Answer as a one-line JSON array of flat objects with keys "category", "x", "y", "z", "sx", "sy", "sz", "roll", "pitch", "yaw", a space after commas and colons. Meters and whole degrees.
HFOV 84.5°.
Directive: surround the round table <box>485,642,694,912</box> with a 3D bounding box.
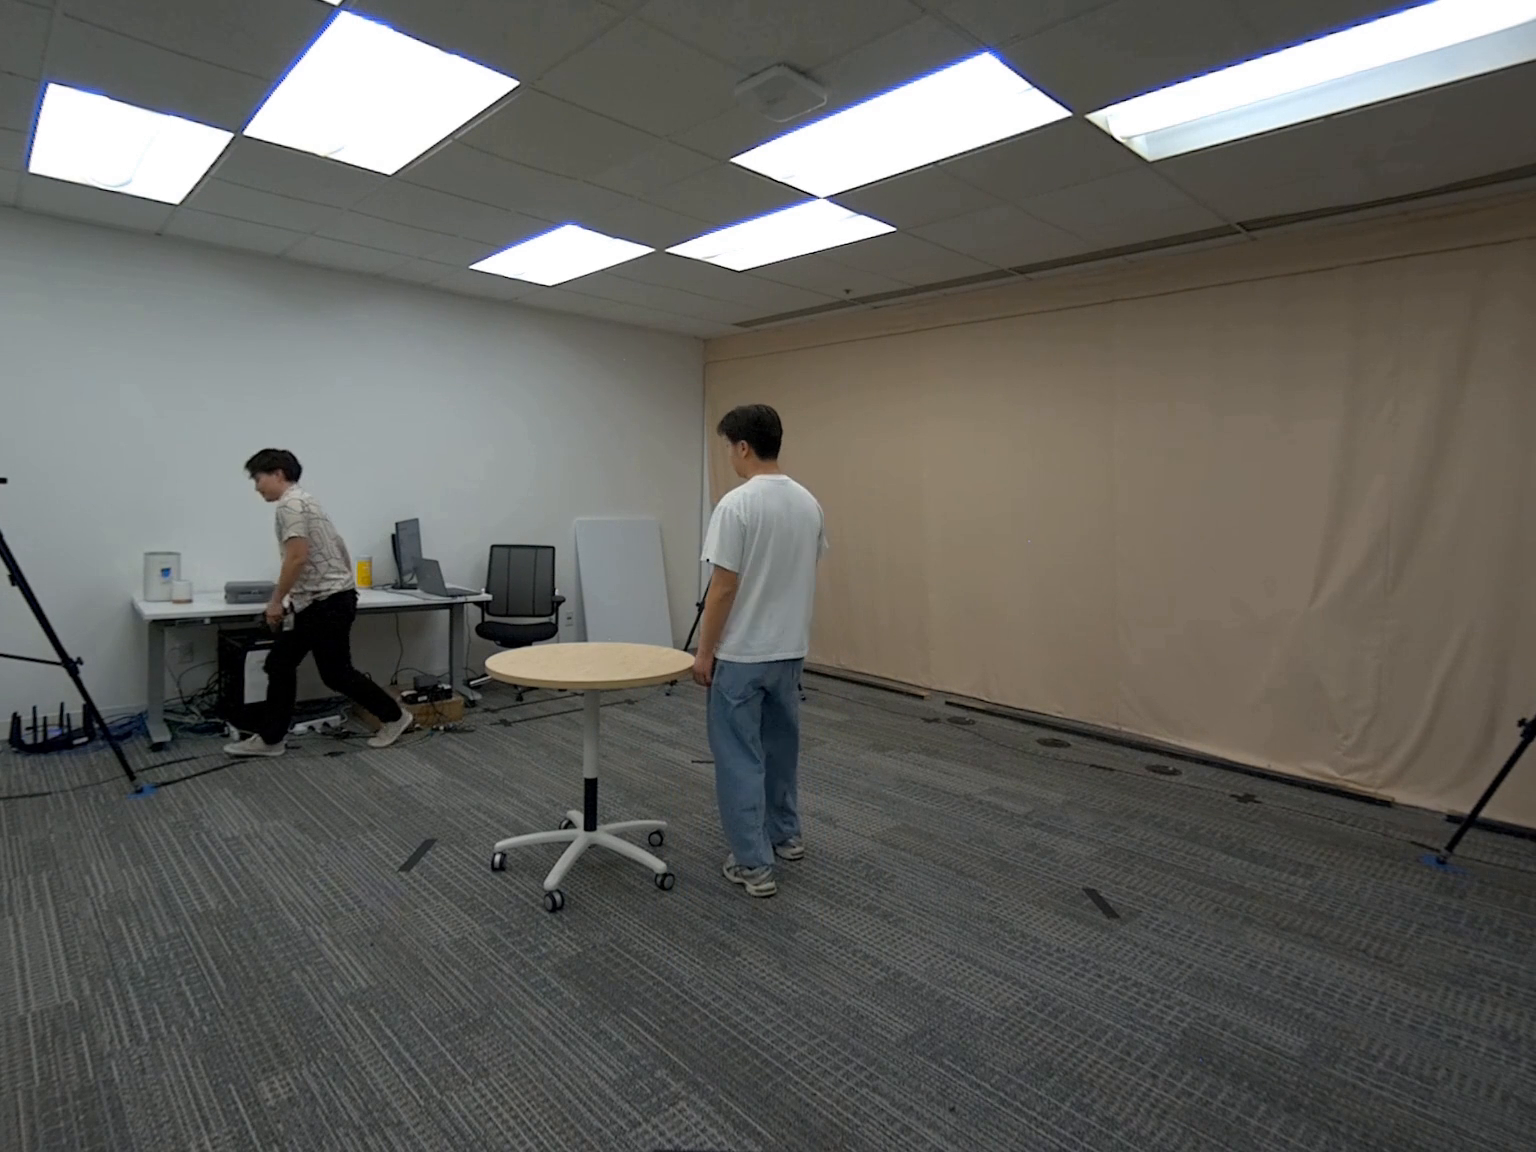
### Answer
[{"category": "round table", "x": -0.663, "y": 0.693, "z": 3.146, "sx": 0.784, "sy": 0.784, "sz": 0.788, "roll": 2, "pitch": 4, "yaw": -1}]
